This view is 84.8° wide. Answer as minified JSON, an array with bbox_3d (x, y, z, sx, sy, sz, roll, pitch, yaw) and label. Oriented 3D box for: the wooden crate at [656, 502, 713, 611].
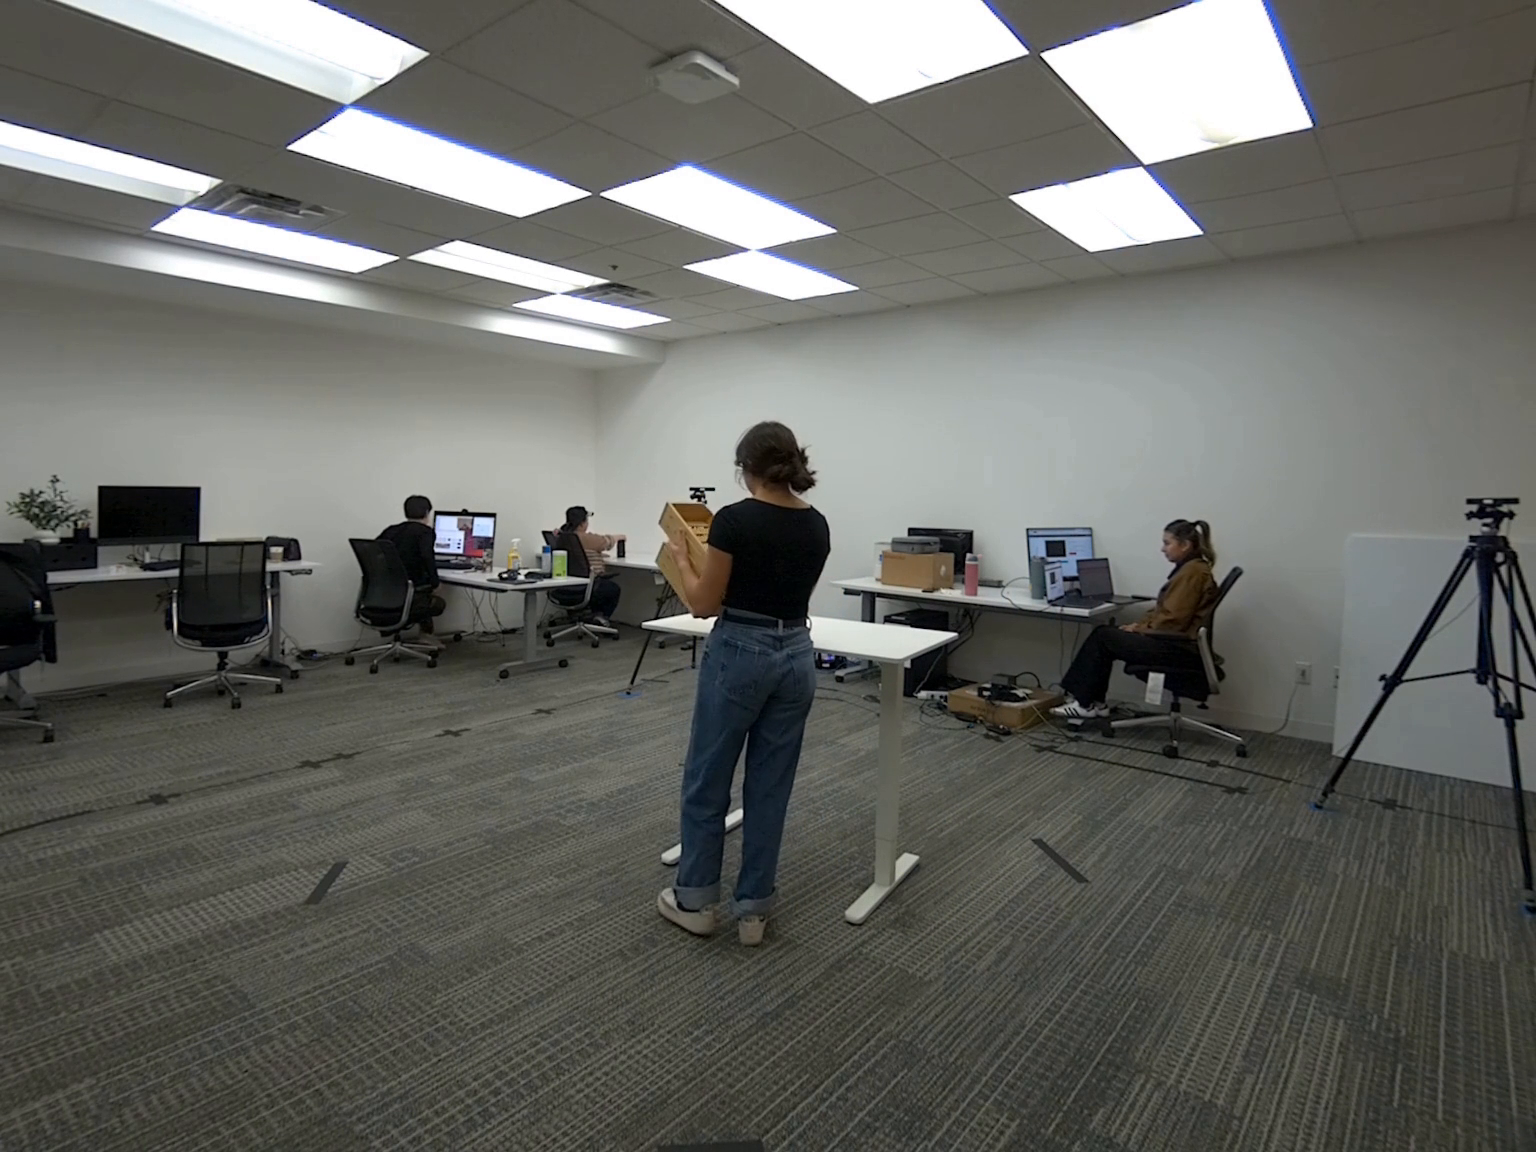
[{"bbox_3d":[-0.199,-0.063,2.895,0.293,0.270,0.338,-2,39,-39],"label":"wooden crate"}]
